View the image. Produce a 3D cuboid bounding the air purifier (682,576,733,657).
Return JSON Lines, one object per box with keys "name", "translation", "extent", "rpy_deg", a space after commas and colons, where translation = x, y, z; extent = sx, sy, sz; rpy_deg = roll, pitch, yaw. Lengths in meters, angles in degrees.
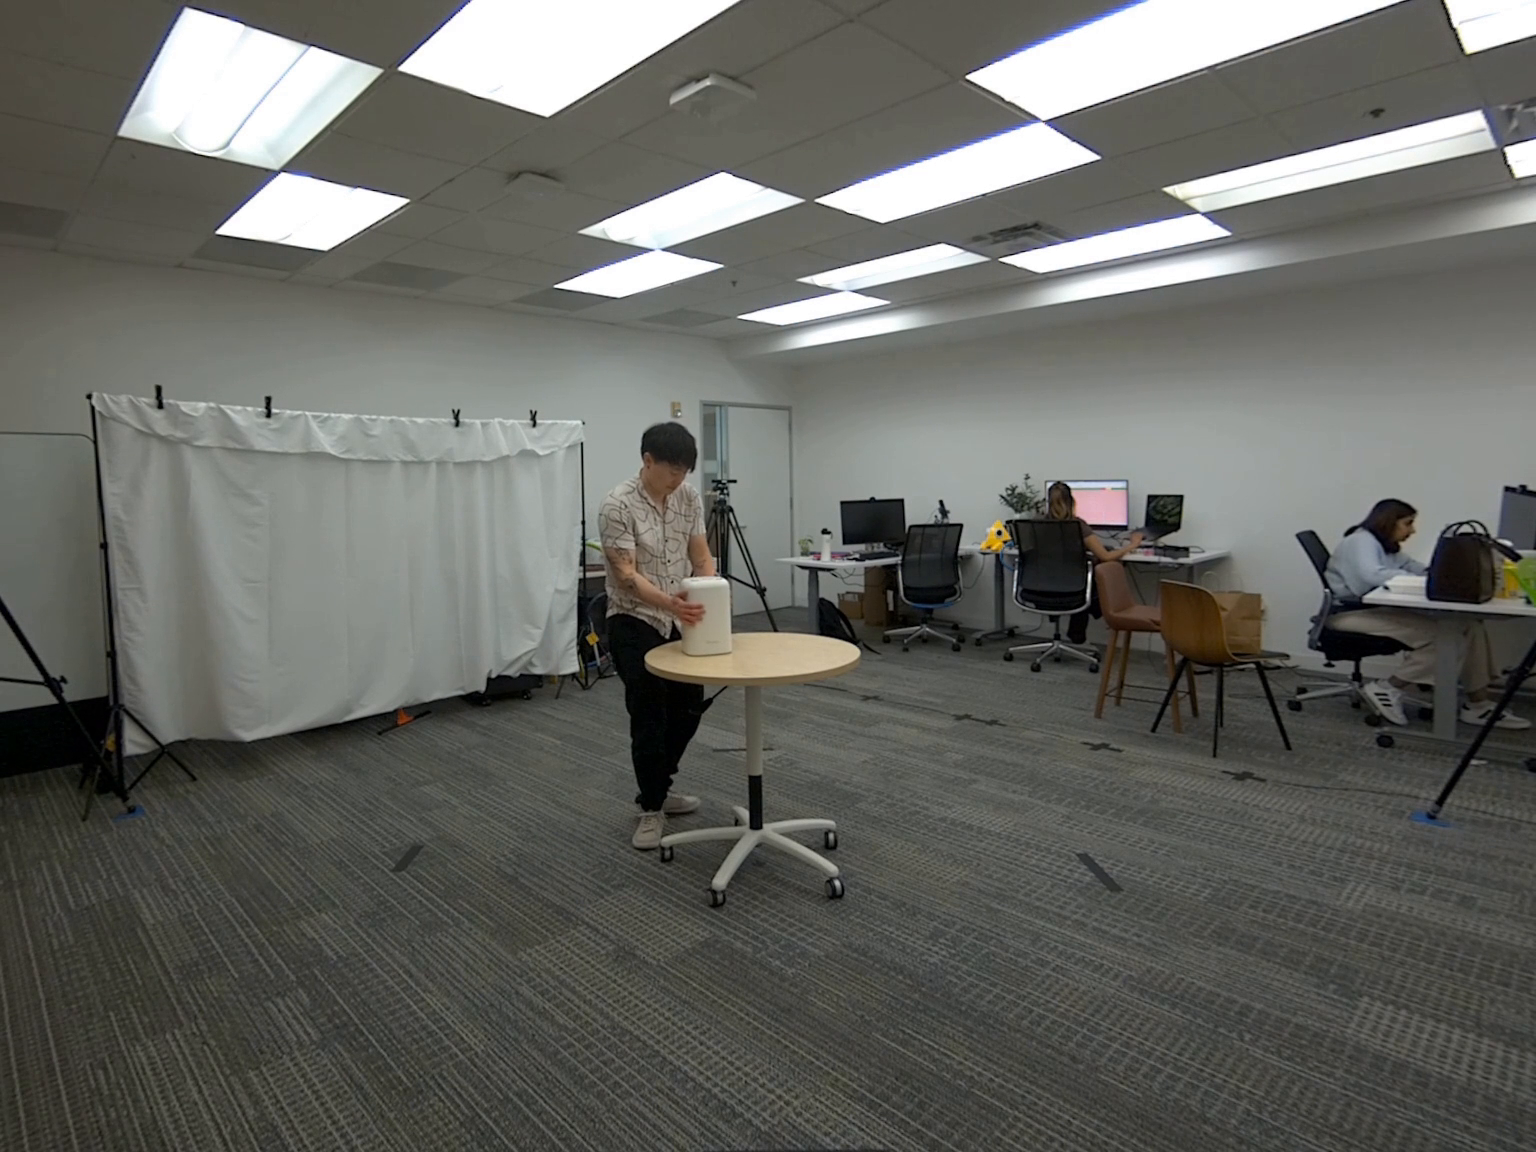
{"name": "air purifier", "translation": [-0.223, 0.140, 3.088], "extent": [0.169, 0.265, 0.174], "rpy_deg": [-4, 3, -12]}
